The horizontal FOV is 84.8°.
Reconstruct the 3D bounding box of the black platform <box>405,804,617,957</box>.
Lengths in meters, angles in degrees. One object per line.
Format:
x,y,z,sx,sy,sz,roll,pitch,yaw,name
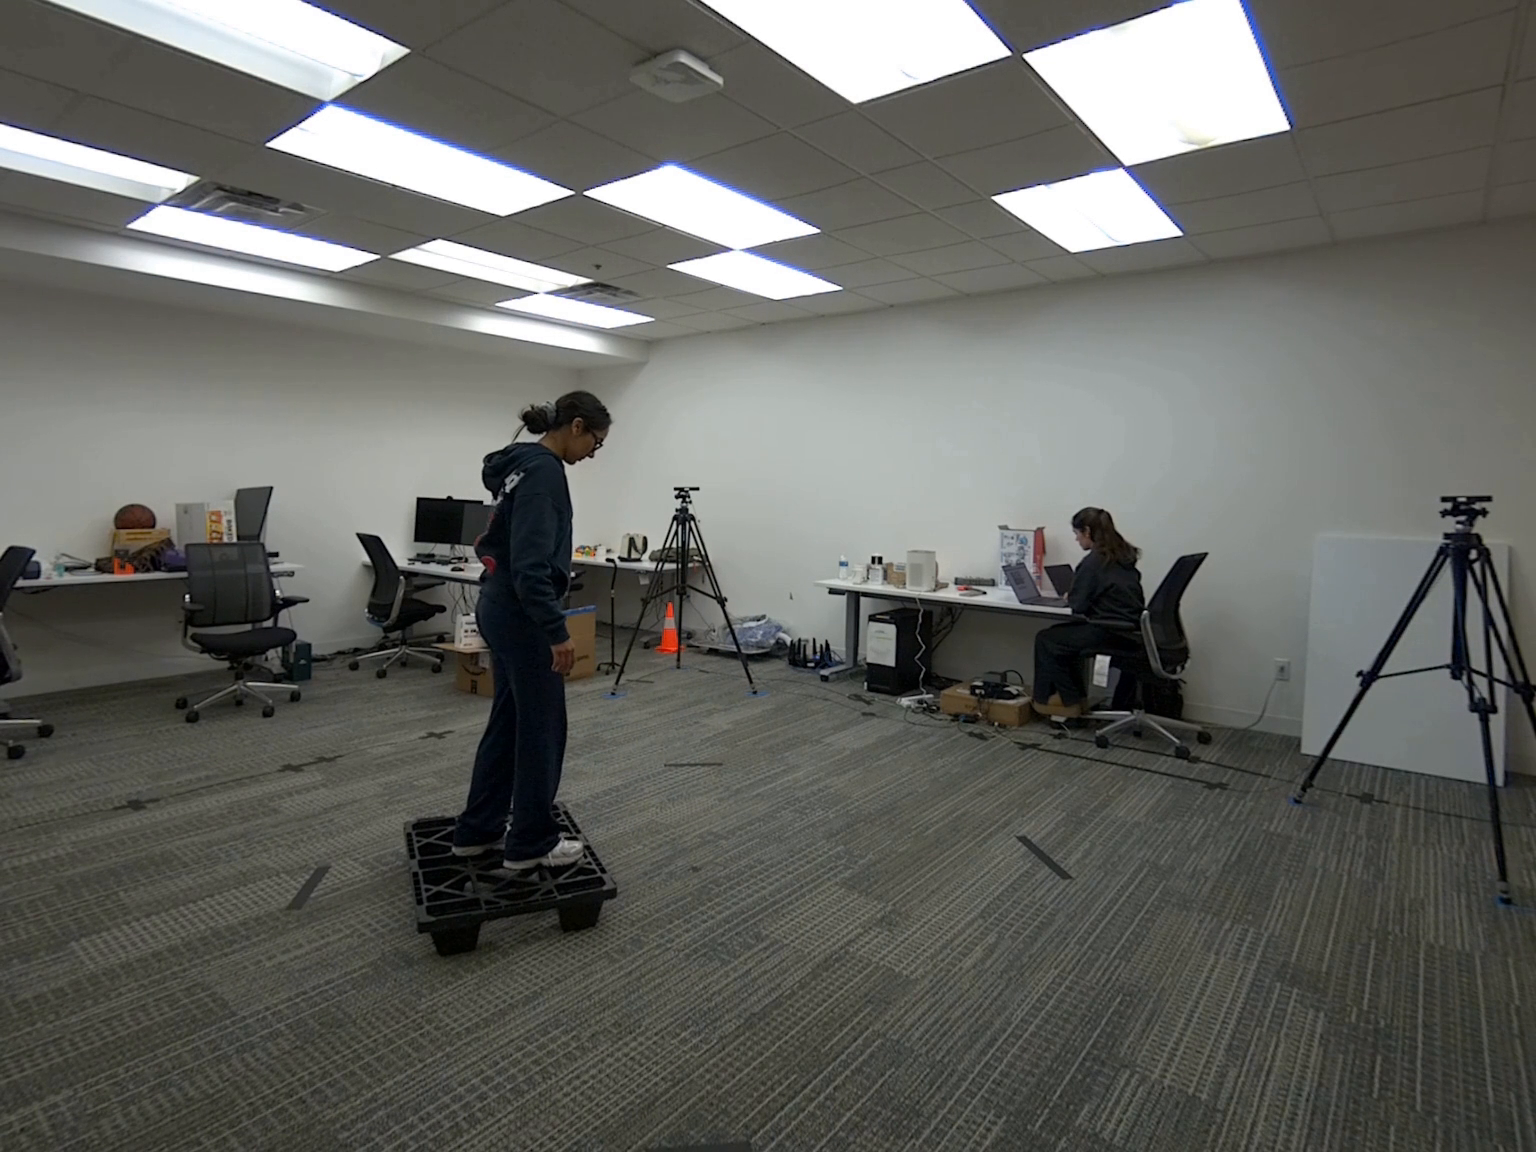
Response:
-0.924,1.005,2.924,0.591,0.143,0.828,-2,7,-25,black platform
